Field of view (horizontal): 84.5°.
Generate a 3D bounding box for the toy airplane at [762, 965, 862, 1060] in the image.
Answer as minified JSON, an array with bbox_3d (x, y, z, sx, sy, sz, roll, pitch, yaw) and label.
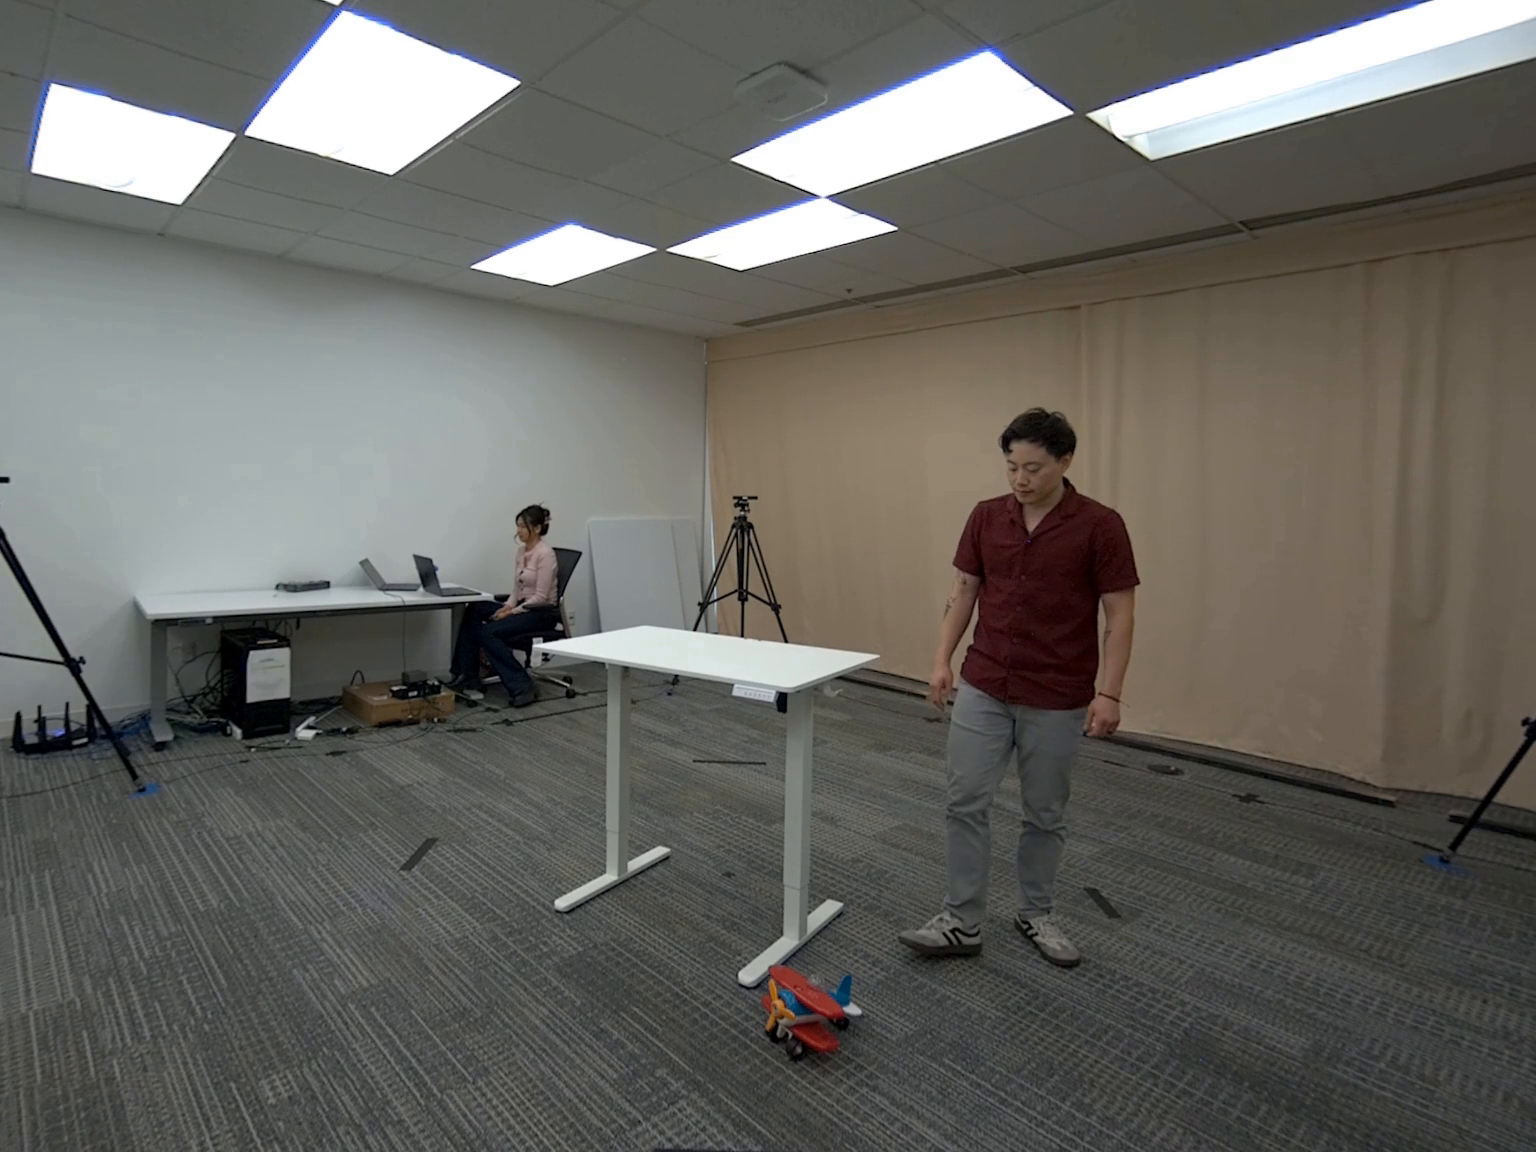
[{"bbox_3d":[0.099,1.126,2.178,0.256,0.156,0.255,4,6,25],"label":"toy airplane"}]
